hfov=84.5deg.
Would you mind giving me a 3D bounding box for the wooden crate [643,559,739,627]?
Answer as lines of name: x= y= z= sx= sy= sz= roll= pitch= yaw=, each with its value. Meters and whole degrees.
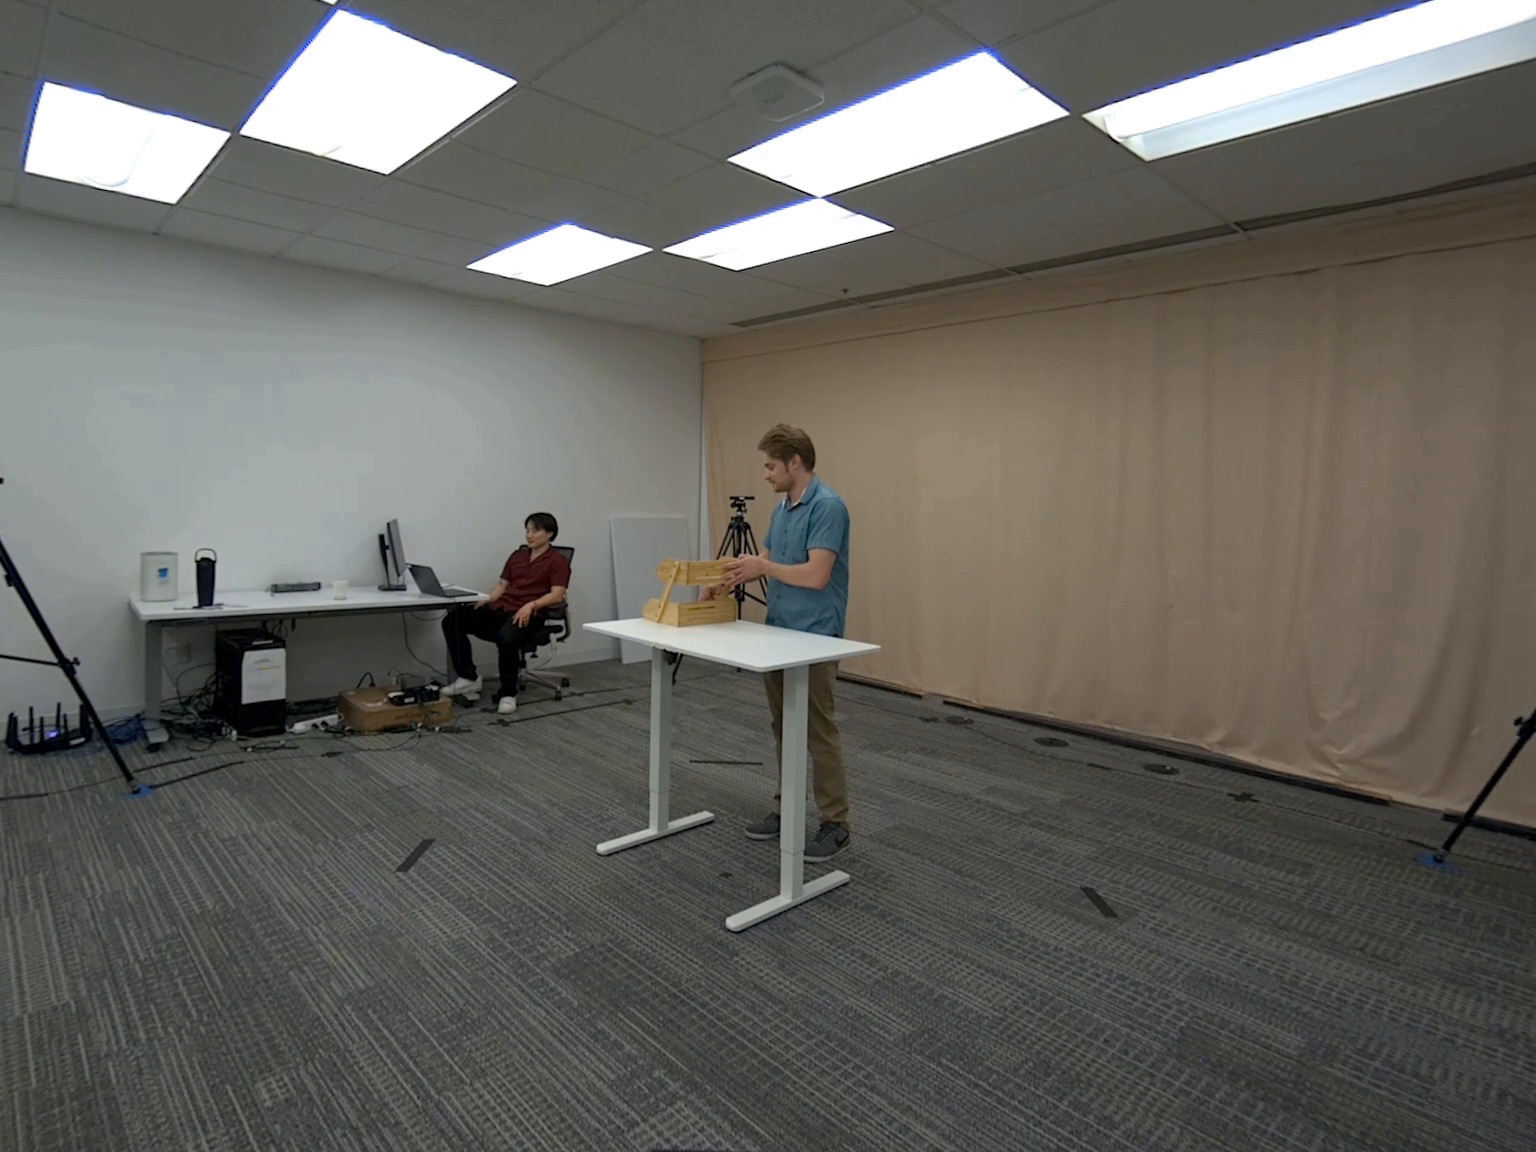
wooden crate: x=-0.311 y=0.050 z=3.440 sx=0.317 sy=0.272 sz=0.310 roll=-3 pitch=7 yaw=-42
